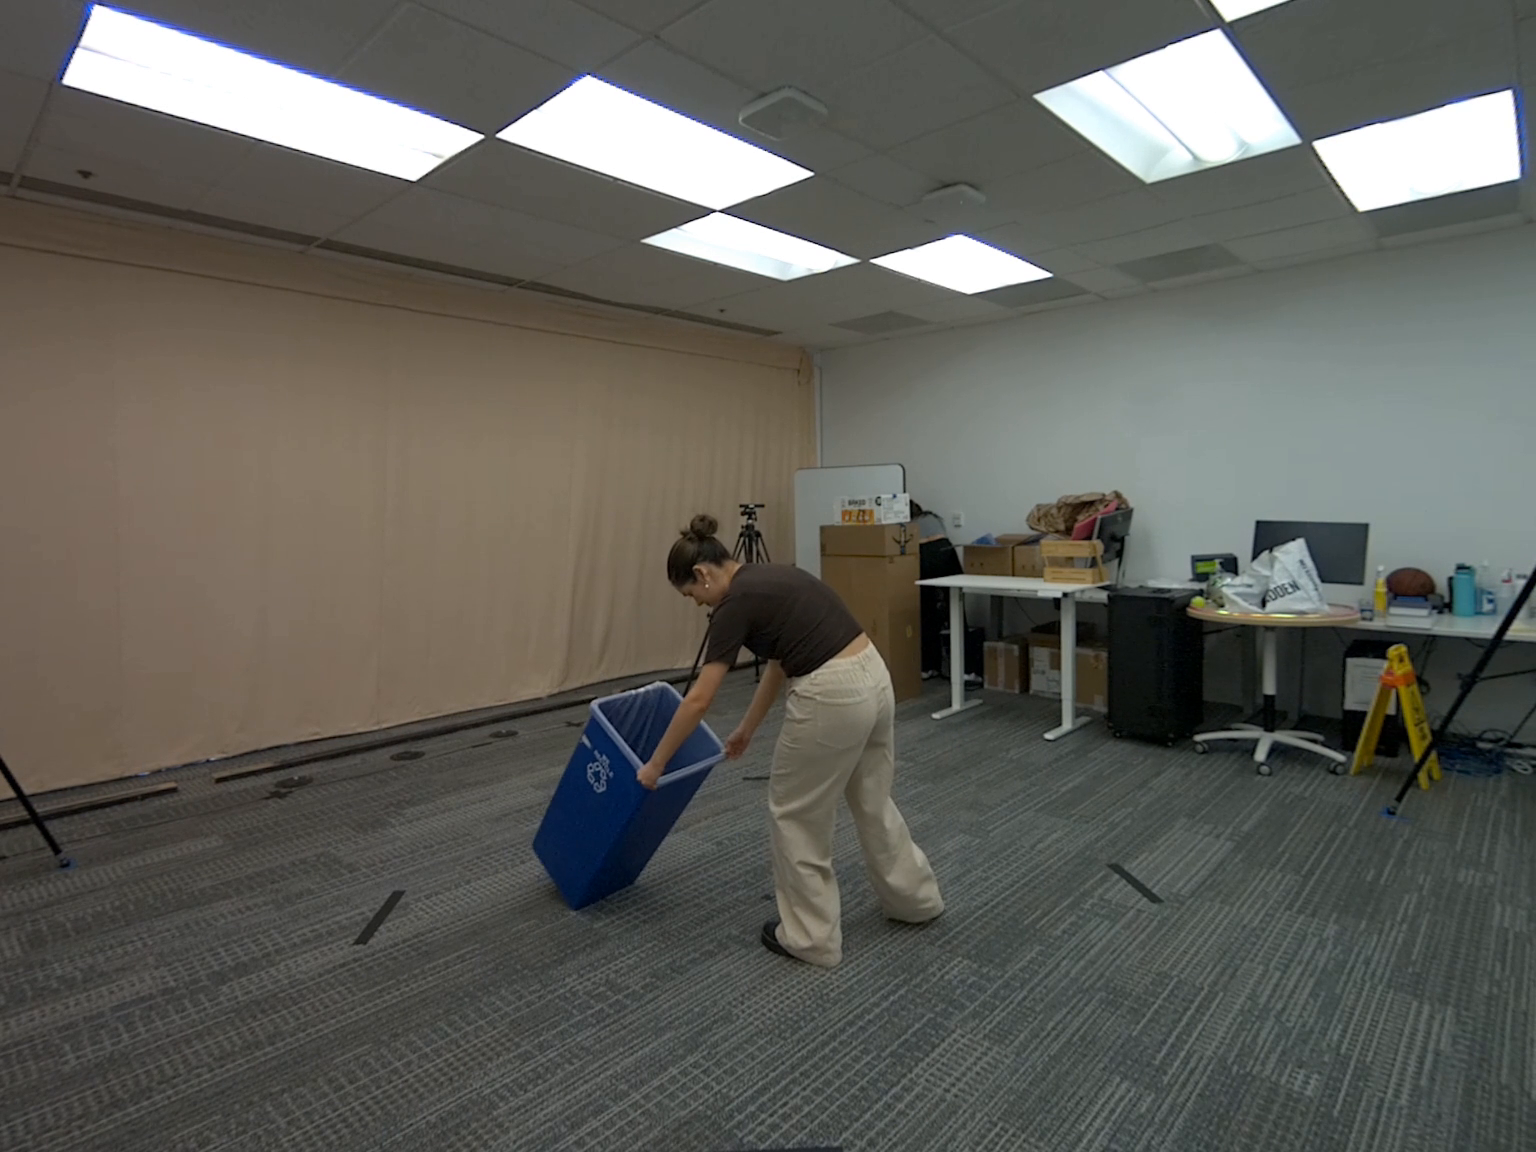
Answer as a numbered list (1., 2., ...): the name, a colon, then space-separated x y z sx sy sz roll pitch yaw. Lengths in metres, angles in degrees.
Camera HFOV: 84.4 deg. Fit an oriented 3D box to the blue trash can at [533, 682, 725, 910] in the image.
1. blue trash can: -0.497 0.782 2.933 0.385 0.713 0.367 43 30 27
